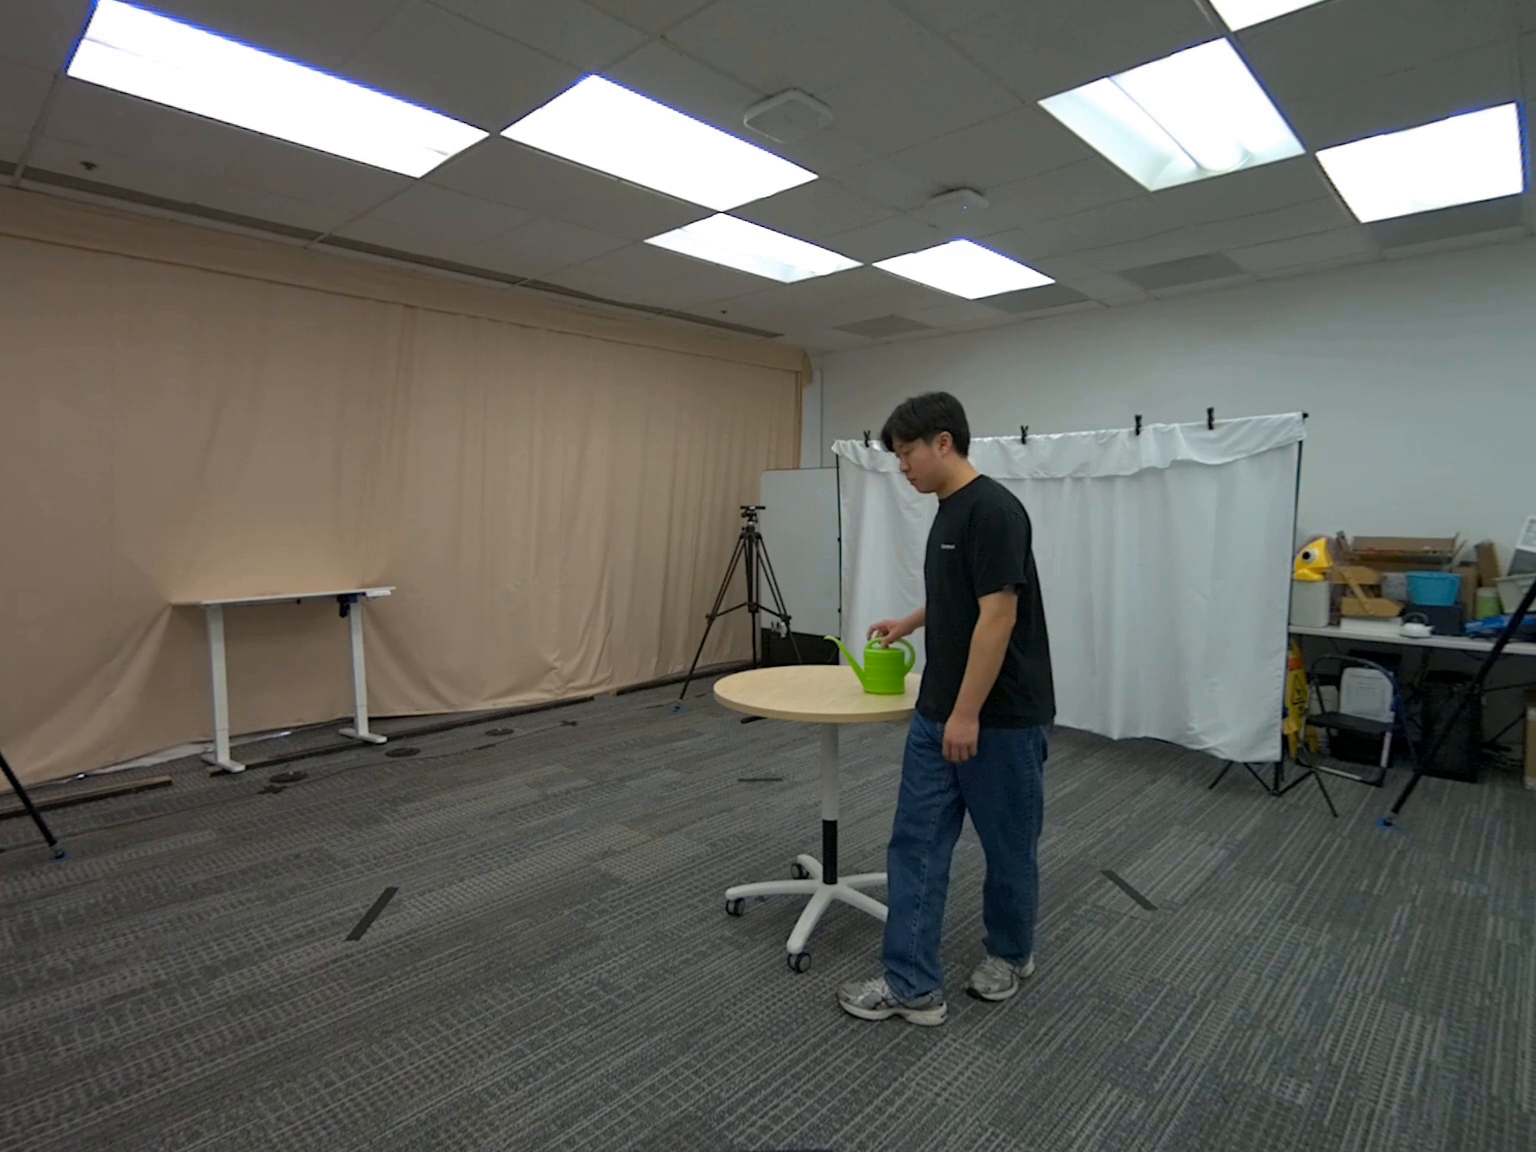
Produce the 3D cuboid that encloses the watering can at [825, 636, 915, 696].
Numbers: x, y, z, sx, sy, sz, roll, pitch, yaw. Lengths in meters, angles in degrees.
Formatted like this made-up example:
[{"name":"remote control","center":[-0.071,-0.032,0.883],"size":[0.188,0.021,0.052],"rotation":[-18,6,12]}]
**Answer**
[{"name":"watering can","center":[0.341,0.286,2.684],"size":[0.283,0.177,0.096],"rotation":[1,0,15]}]
